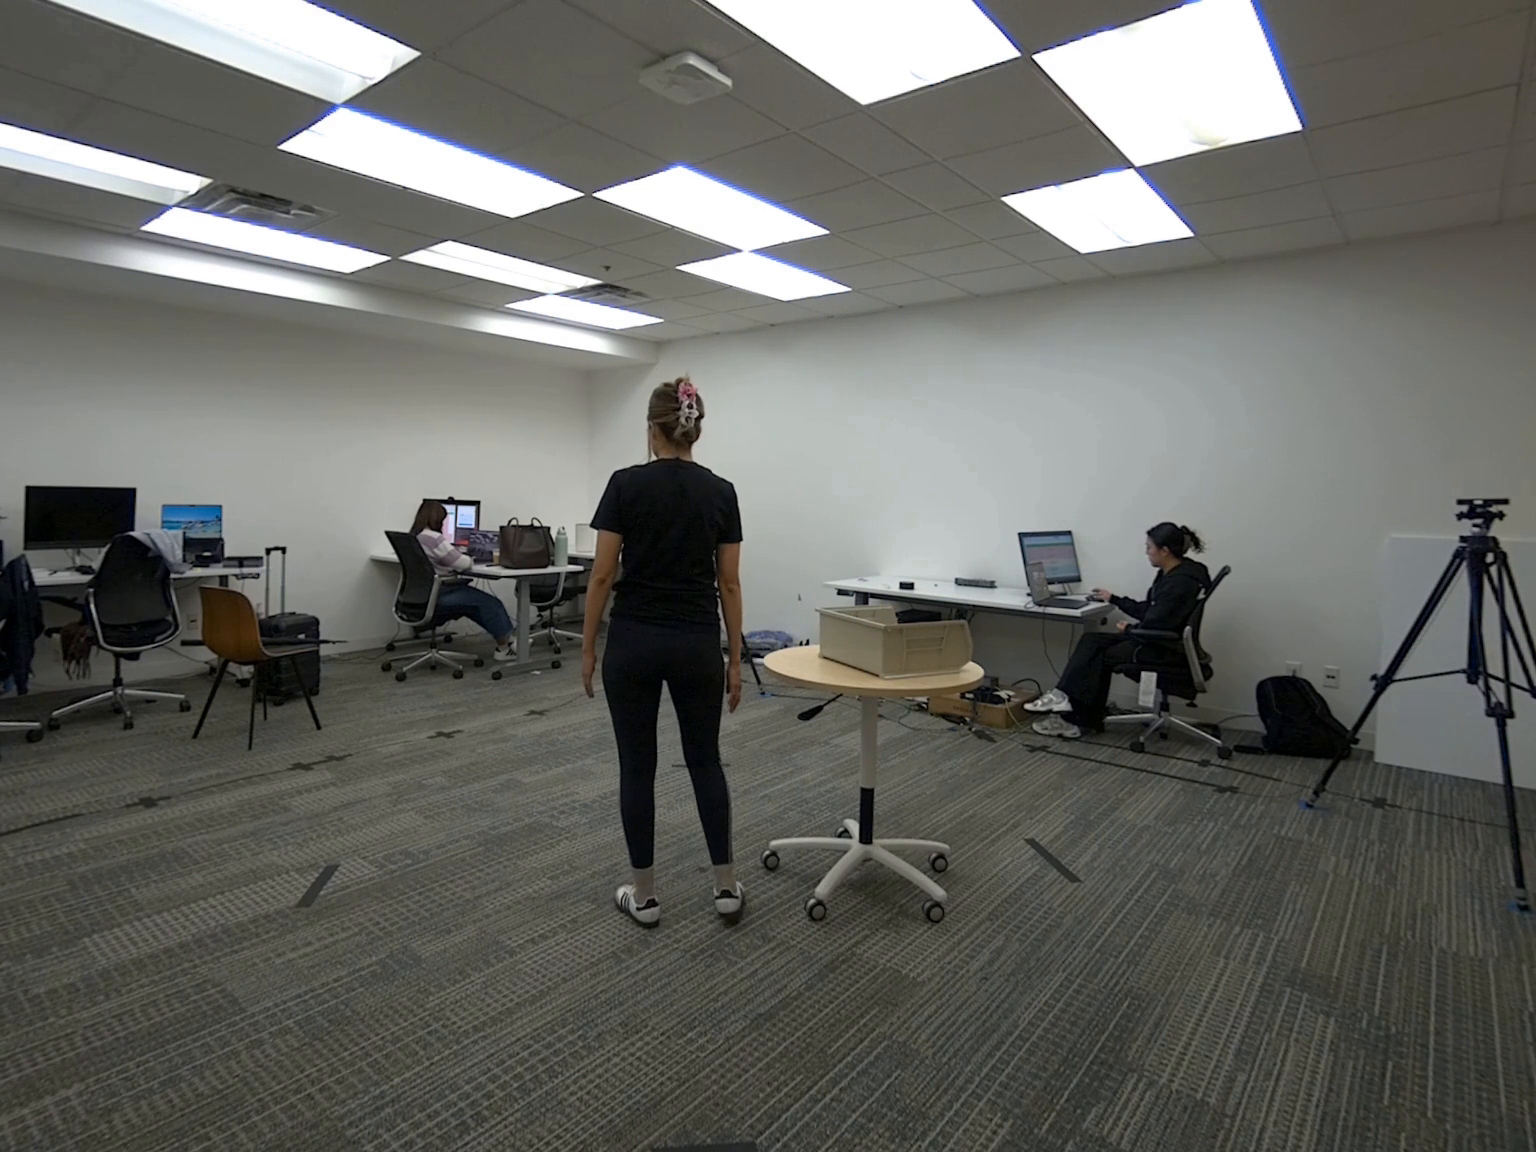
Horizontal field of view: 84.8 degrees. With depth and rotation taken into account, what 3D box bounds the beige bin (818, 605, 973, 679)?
[{"bbox_3d":[0.429,0.223,3.024,0.368,0.188,0.435,-3,7,-27],"label":"beige bin"}]
